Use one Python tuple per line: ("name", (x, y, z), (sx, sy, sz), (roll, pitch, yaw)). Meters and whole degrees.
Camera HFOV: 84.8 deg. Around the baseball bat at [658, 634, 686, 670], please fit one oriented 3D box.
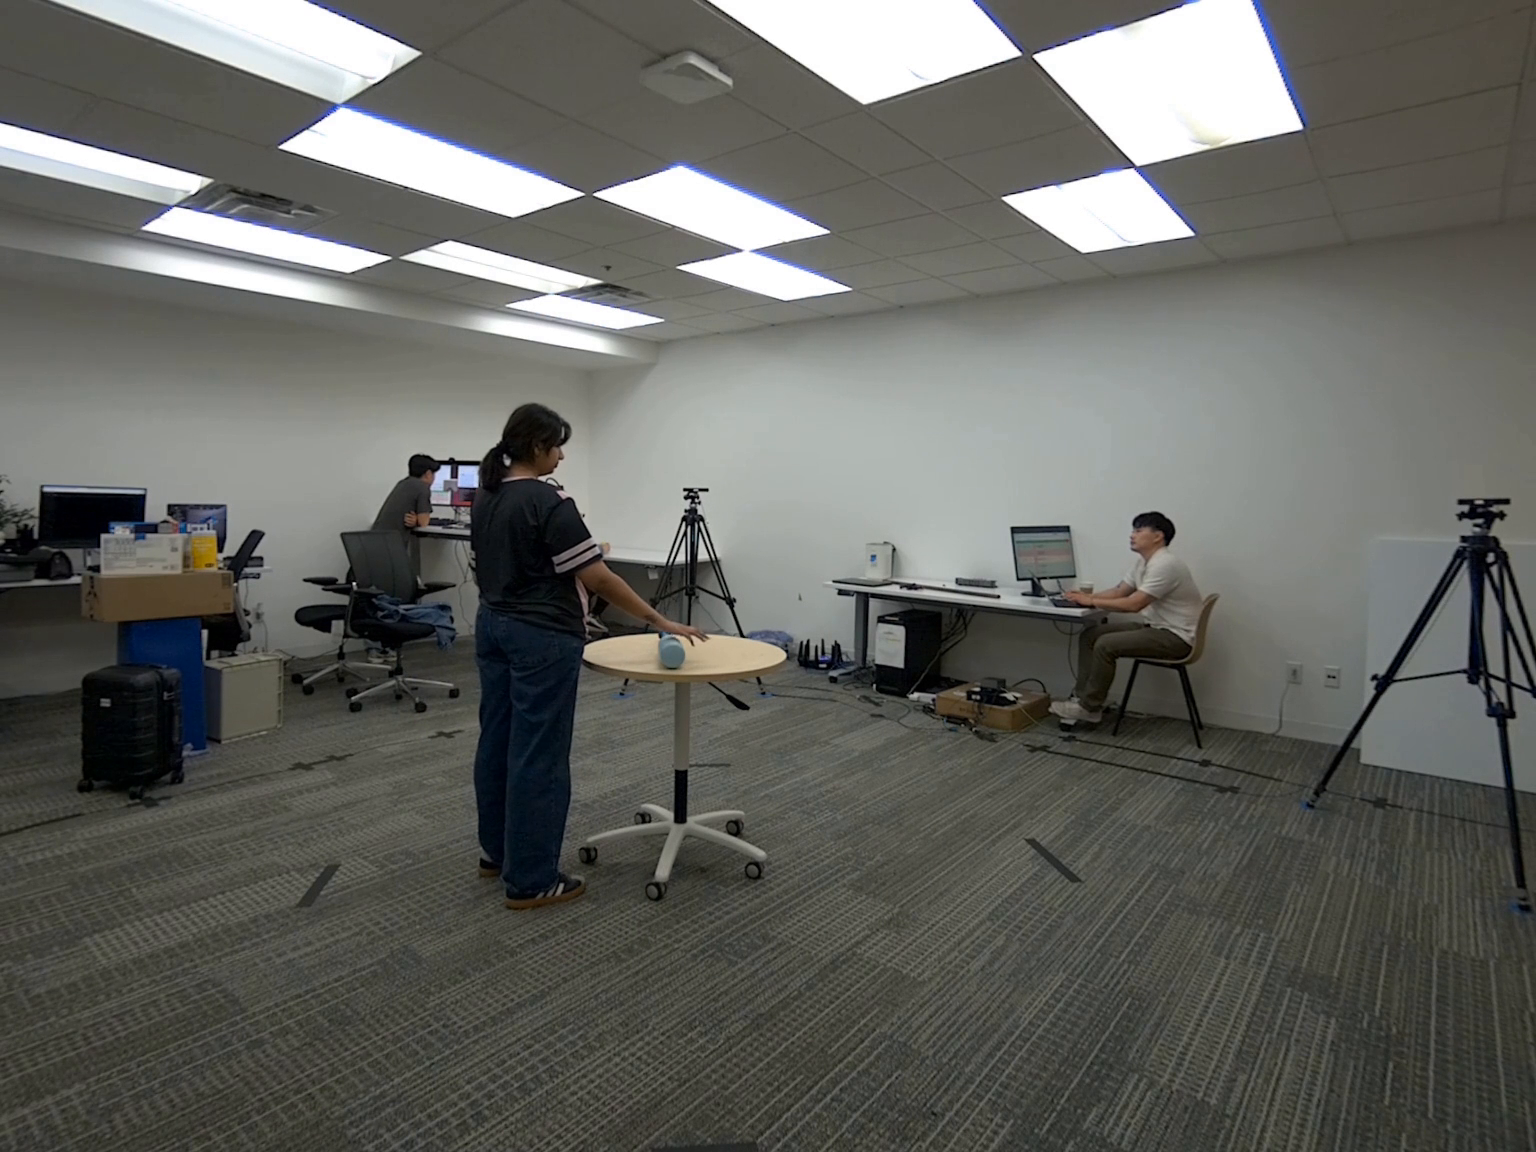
("baseball bat", (-0.378, 0.248, 3.098), (0.088, 0.089, 0.551), (0, 5, -13))
